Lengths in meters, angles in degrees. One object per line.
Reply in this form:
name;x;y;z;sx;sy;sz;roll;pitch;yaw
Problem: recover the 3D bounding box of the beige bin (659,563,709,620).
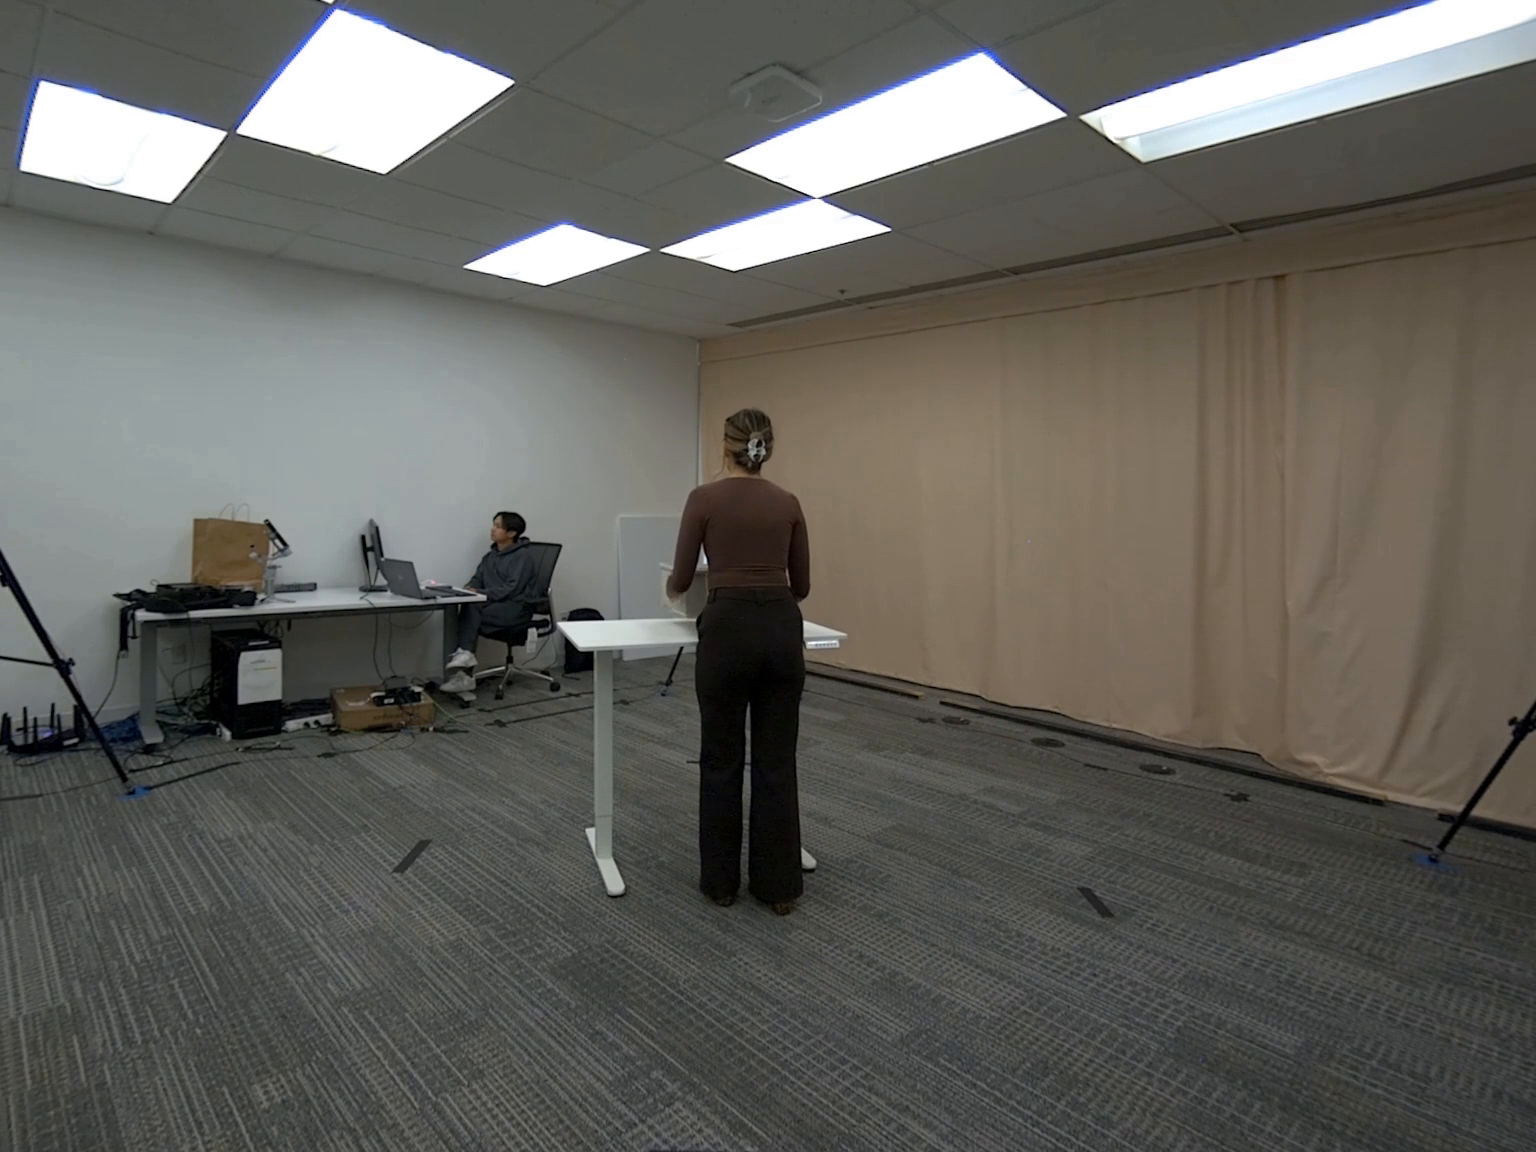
beige bin;-0.215;0.057;3.310;0.371;0.188;0.430;0;4;-21
